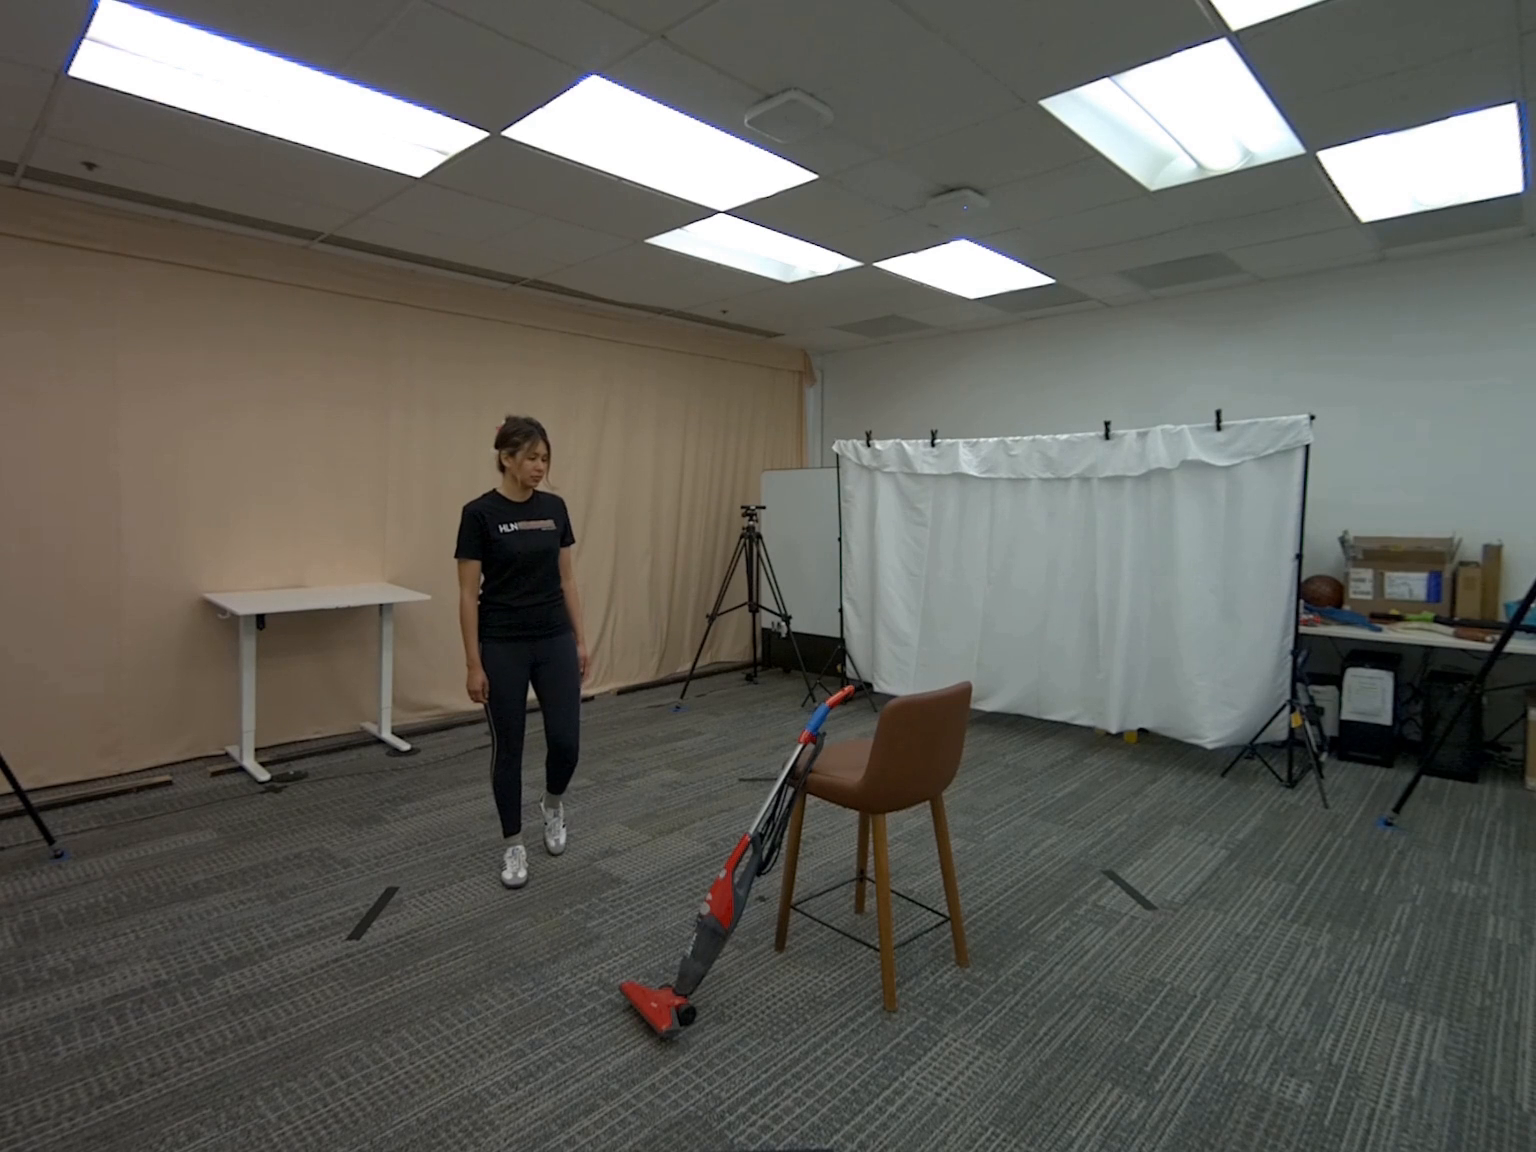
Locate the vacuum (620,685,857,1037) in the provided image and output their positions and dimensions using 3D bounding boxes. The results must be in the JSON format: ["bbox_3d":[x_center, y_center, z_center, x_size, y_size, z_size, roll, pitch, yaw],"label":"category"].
[{"bbox_3d":[-0.029,0.773,2.430,0.261,1.048,0.139,10,-29,51],"label":"vacuum"}]
